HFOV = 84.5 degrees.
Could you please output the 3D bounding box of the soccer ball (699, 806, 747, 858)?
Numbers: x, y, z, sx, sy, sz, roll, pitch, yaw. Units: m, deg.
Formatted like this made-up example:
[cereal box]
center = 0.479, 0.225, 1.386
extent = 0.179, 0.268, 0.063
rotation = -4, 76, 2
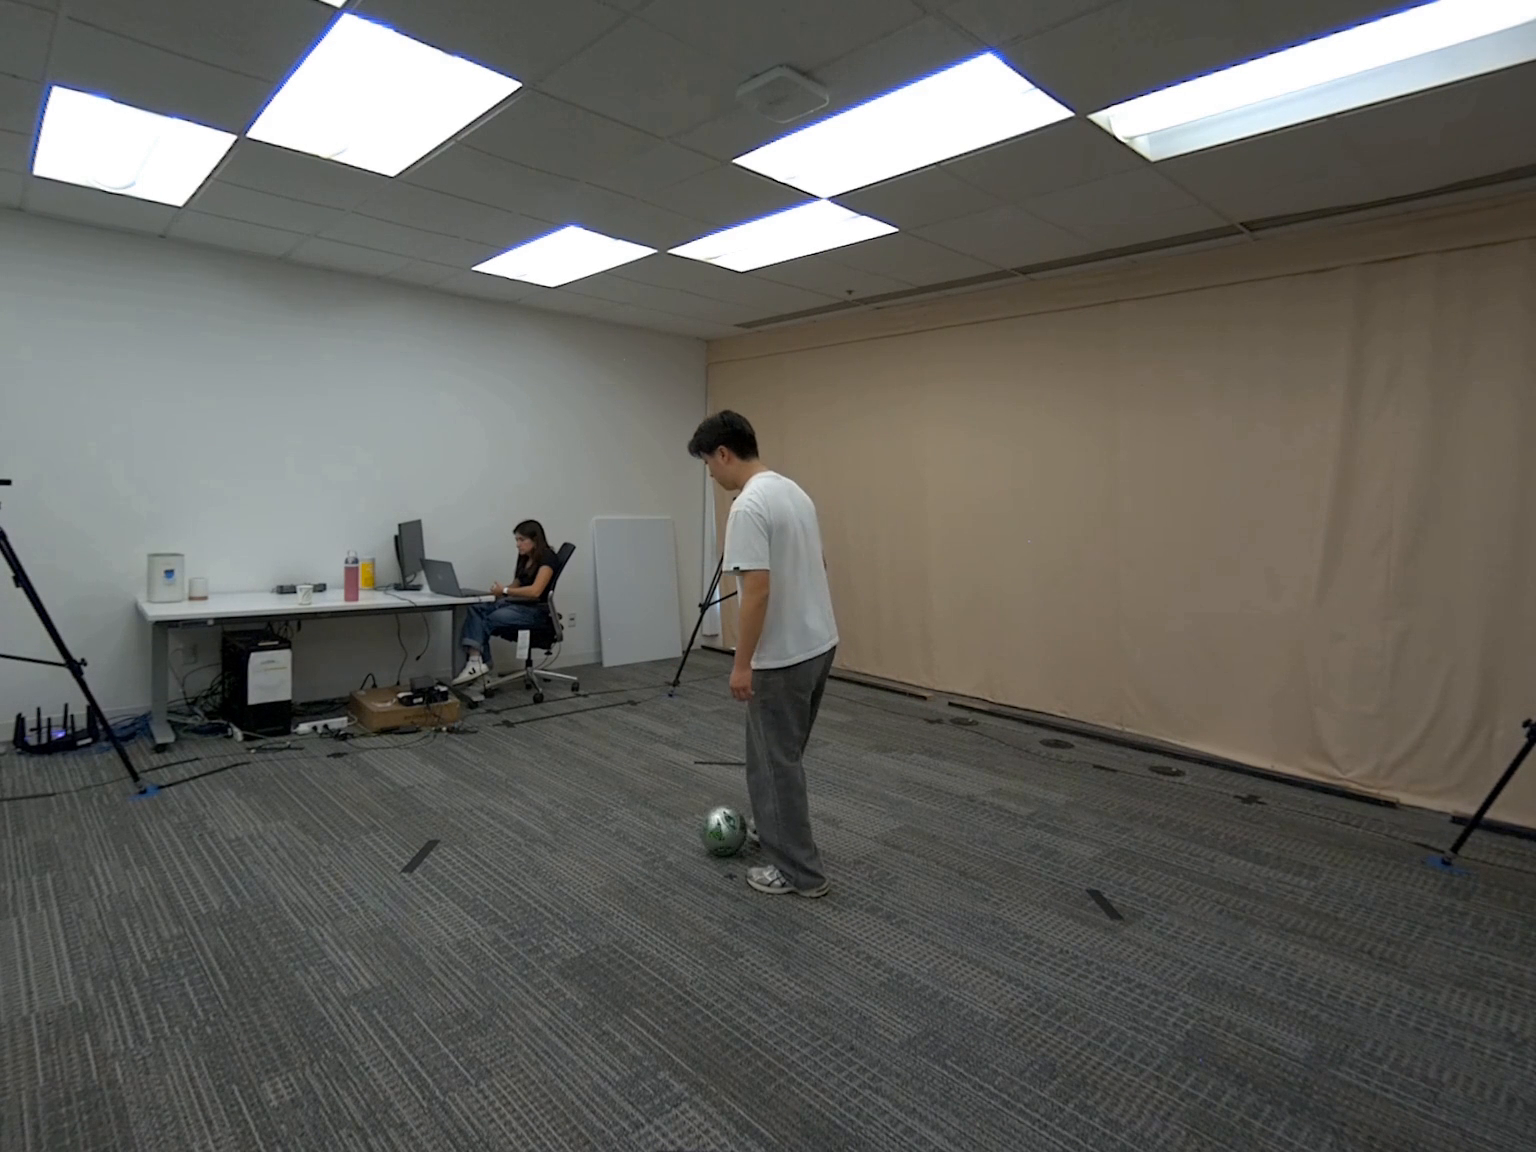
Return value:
[soccer ball]
center = -0.177, 0.991, 3.300
extent = 0.187, 0.187, 0.188
rotation = 1, 4, -1
